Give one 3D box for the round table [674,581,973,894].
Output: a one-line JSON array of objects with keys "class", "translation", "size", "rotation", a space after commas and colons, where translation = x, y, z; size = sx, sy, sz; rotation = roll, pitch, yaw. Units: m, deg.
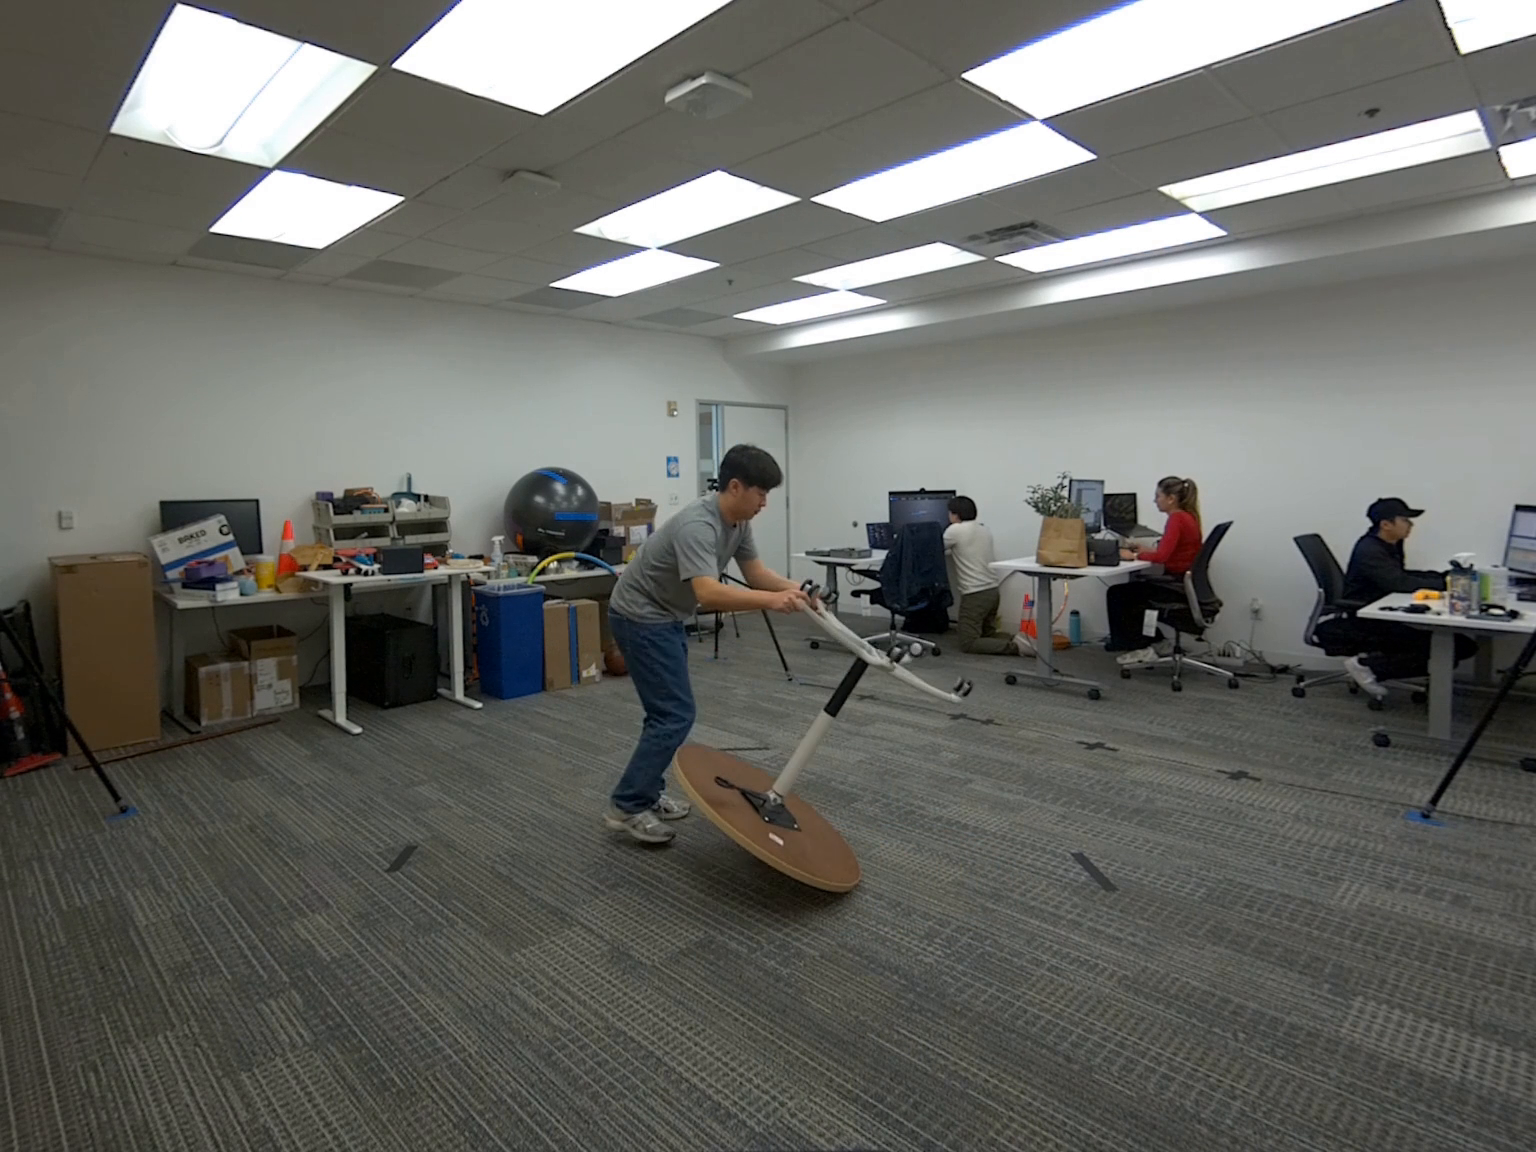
[{"class": "round table", "translation": [0.196, 0.513, 2.994], "size": [0.761, 0.793, 0.768], "rotation": [31, 4, -4]}]
